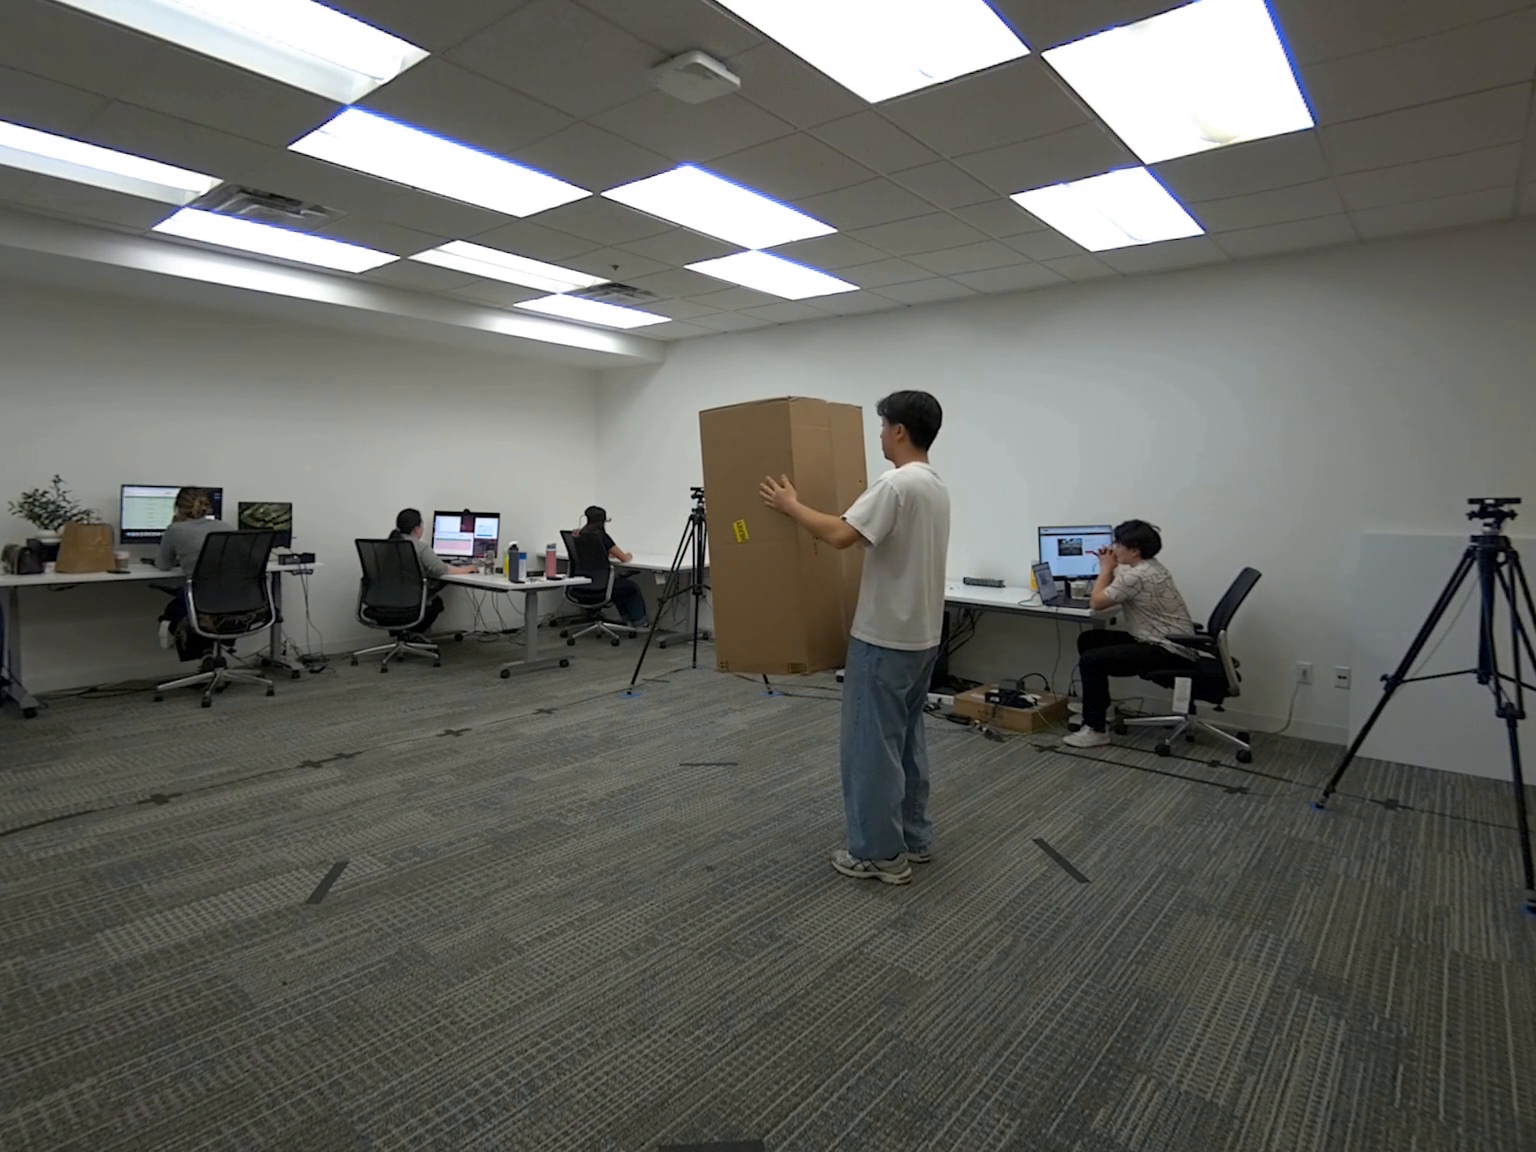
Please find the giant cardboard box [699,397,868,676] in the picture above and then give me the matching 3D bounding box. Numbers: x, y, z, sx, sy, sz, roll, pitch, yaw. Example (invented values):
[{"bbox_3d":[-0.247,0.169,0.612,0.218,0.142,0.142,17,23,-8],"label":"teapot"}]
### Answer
[{"bbox_3d":[0.088,-0.163,3.423,0.438,1.025,0.562,-3,2,35],"label":"giant cardboard box"}]
